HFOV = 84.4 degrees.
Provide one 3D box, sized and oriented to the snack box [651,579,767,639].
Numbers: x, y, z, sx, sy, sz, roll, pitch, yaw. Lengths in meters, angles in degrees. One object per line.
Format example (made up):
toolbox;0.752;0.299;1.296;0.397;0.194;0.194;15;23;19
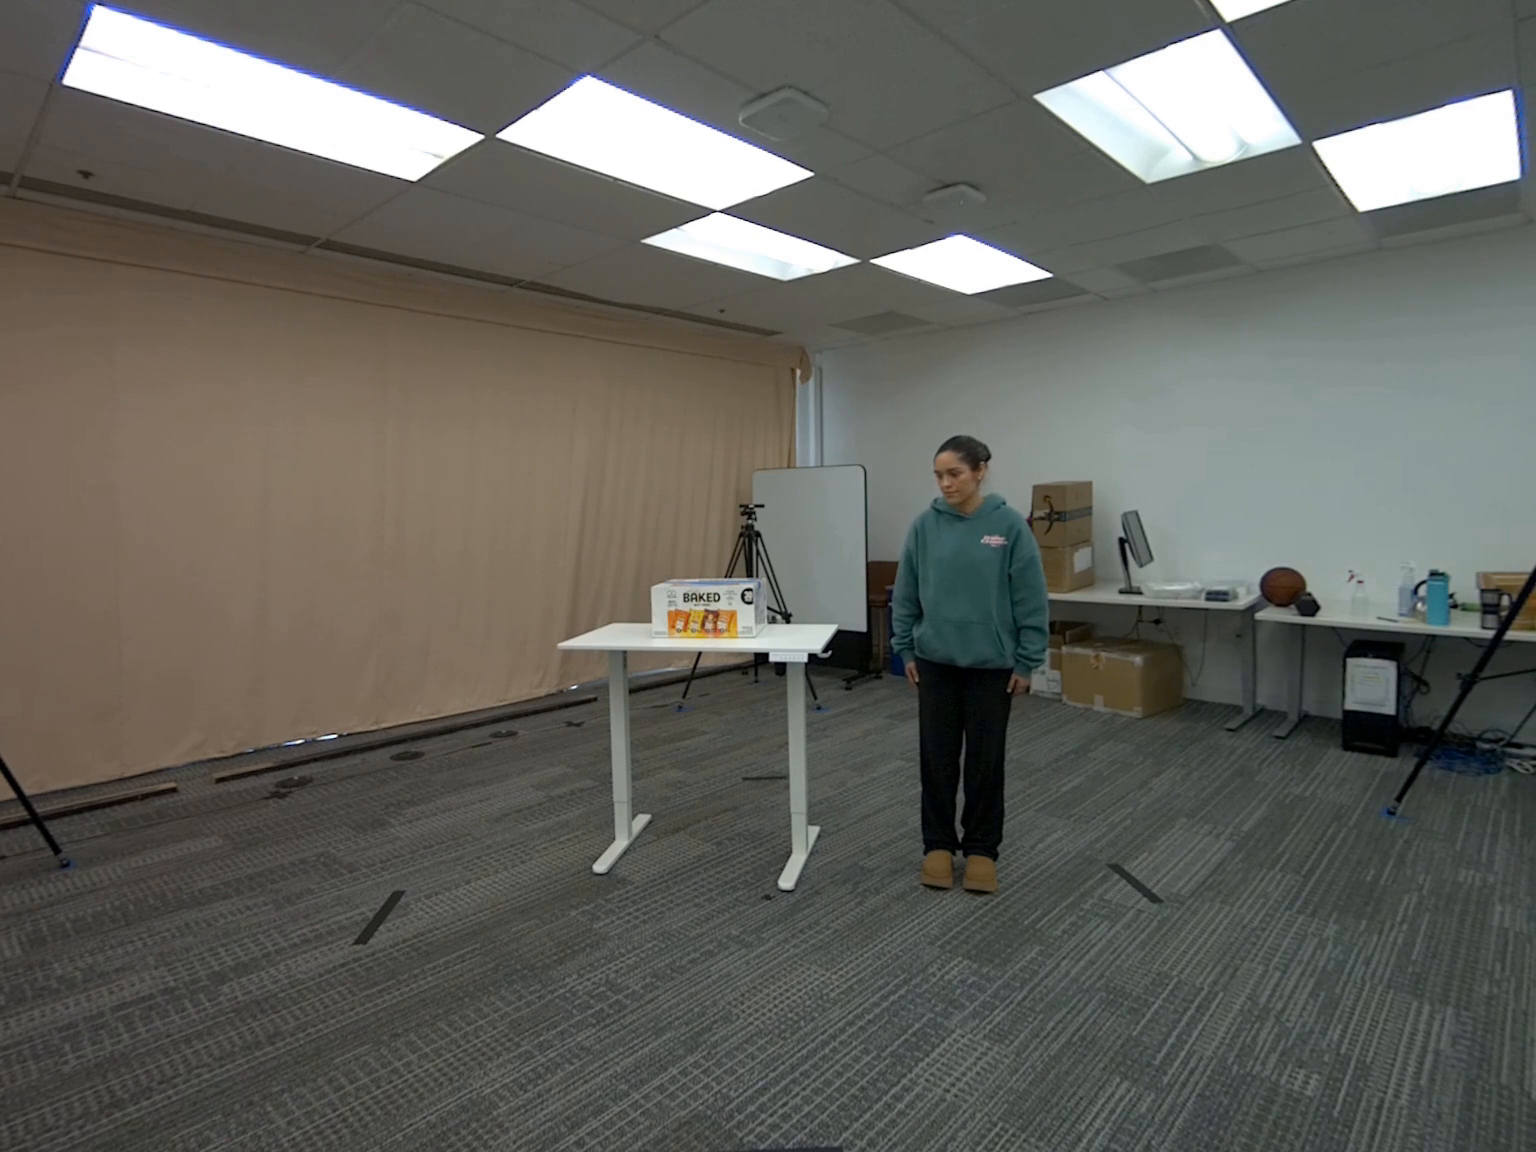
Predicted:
snack box;-0.228;0.125;3.415;0.410;0.205;0.337;-1;4;10
